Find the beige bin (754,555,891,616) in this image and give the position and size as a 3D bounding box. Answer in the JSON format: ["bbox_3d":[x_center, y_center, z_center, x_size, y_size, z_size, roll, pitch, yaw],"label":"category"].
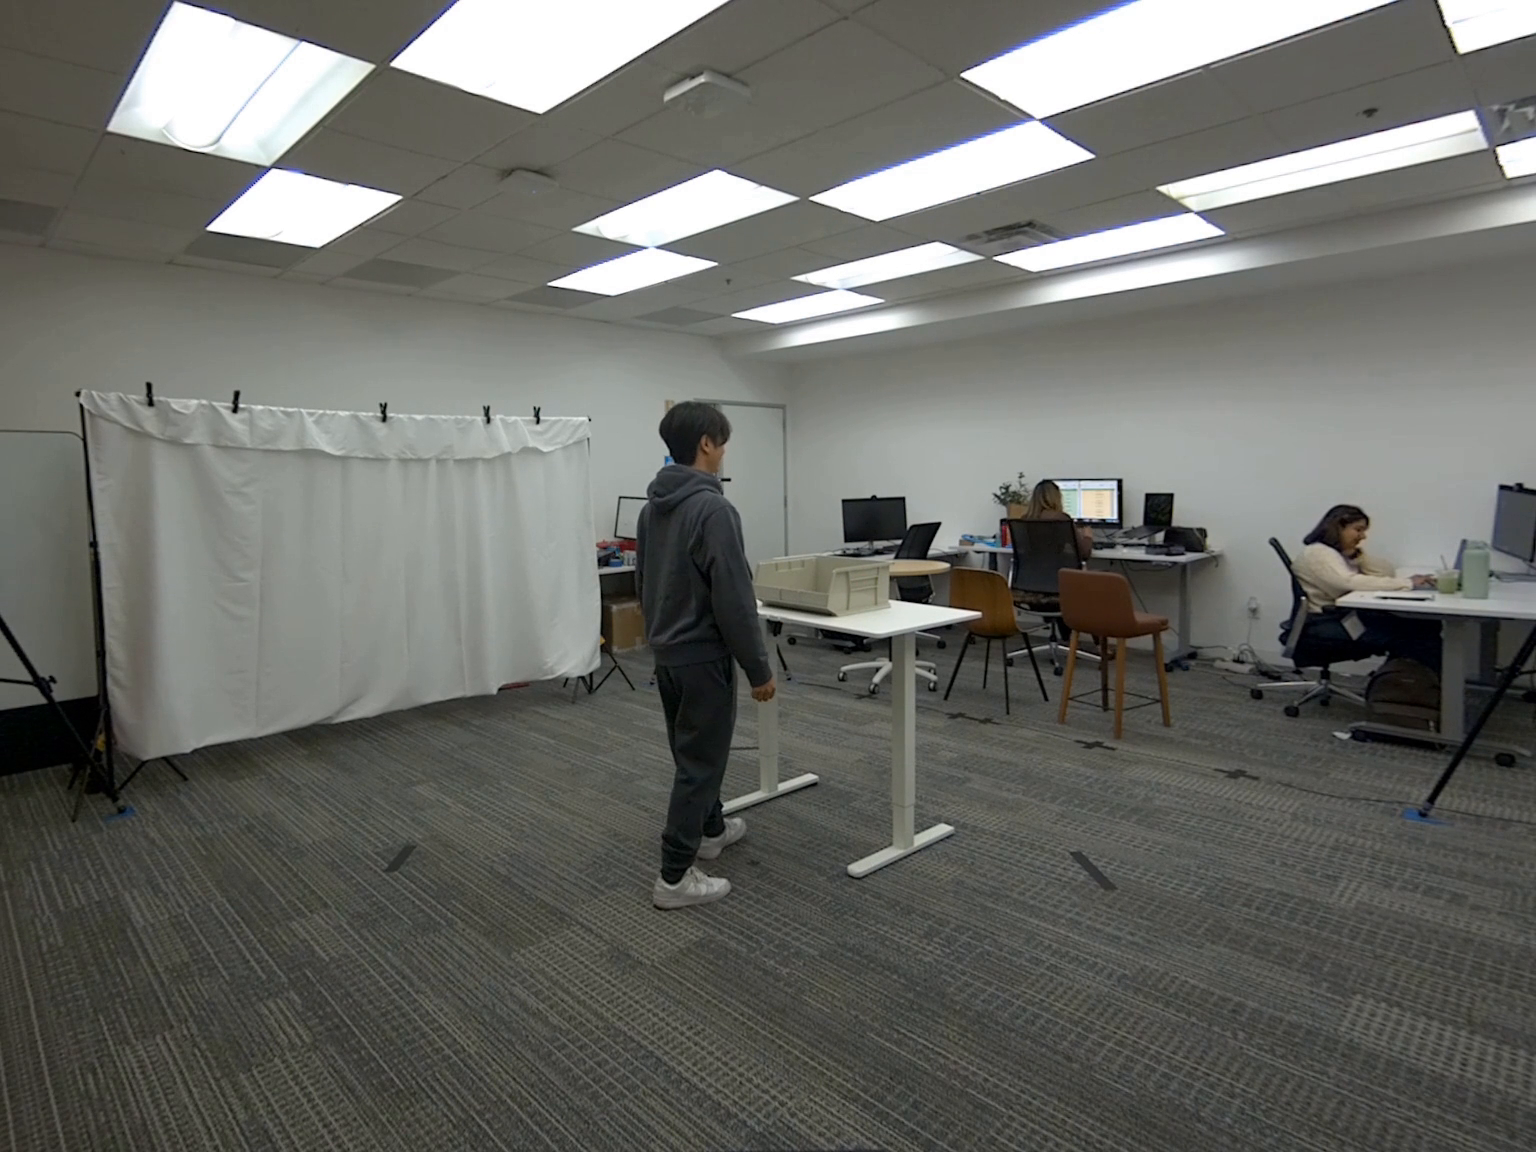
[{"bbox_3d":[0.219,0.035,3.378,0.367,0.188,0.435,-6,8,-41],"label":"beige bin"}]
